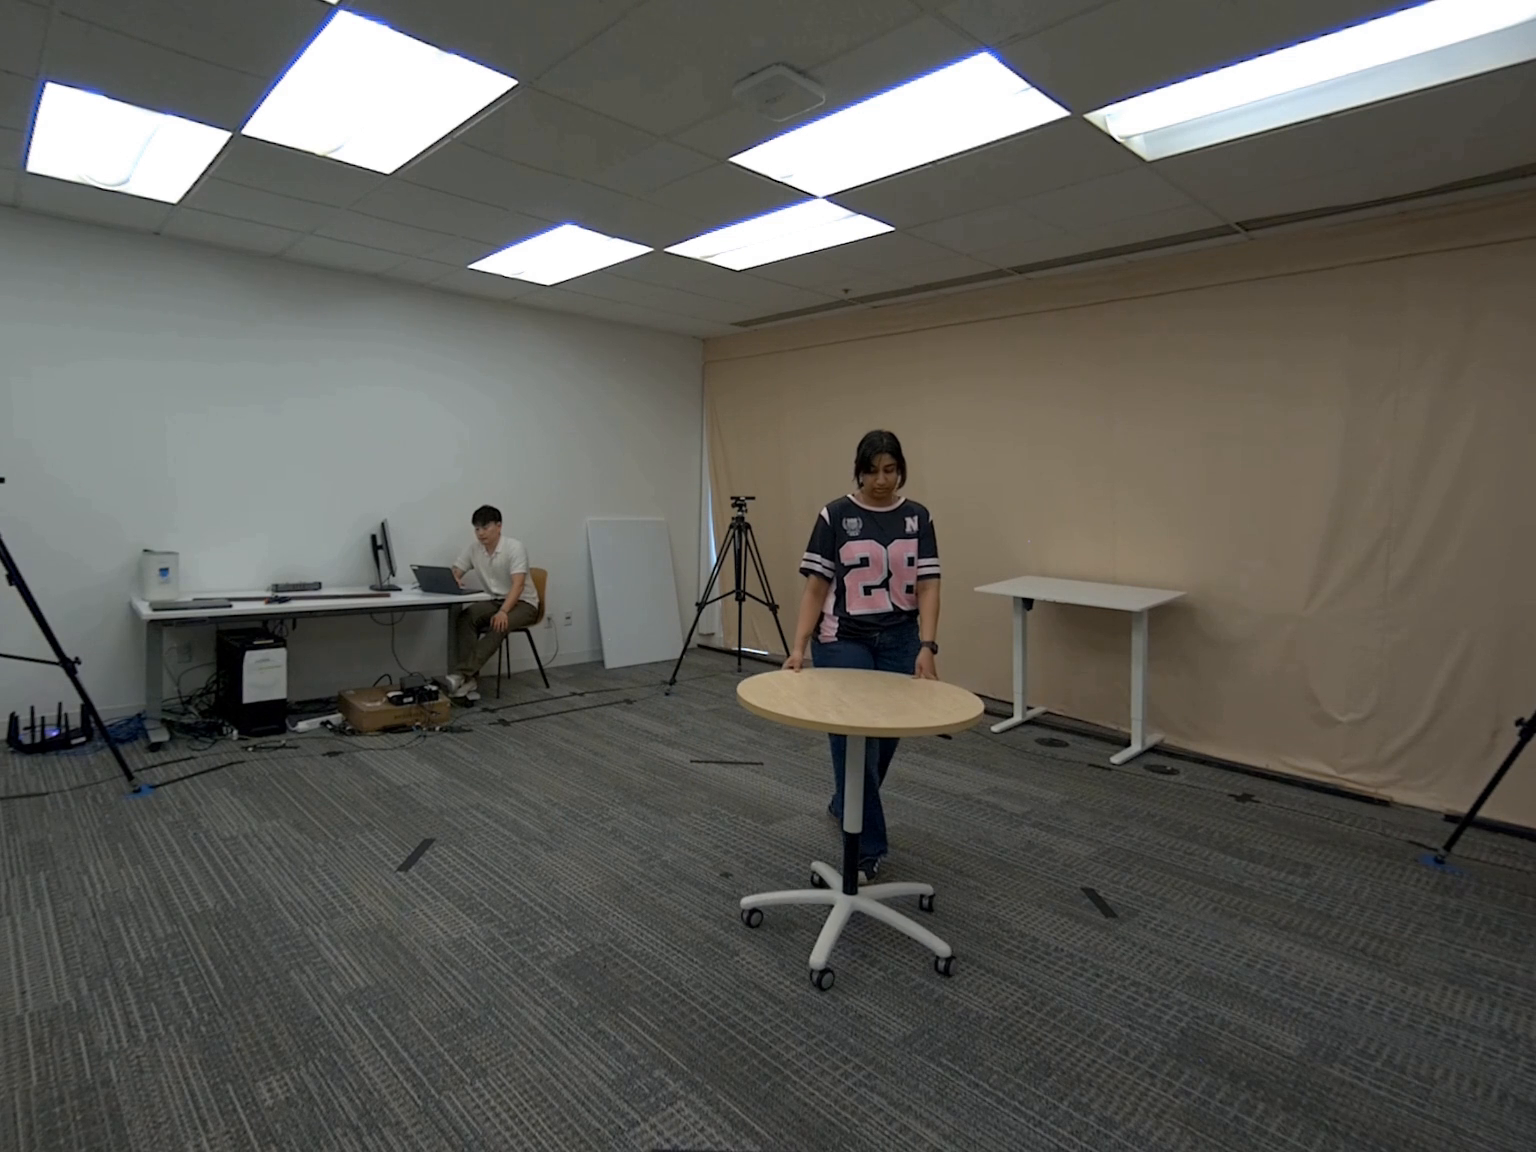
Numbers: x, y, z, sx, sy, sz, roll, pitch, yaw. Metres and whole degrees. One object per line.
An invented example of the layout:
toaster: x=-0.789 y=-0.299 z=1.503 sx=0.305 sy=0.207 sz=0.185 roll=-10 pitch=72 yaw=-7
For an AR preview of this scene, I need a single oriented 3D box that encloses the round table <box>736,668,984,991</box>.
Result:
round table: x=0.260 y=0.767 z=2.673 sx=0.763 sy=0.792 sz=0.767 roll=2 pitch=4 yaw=-2
